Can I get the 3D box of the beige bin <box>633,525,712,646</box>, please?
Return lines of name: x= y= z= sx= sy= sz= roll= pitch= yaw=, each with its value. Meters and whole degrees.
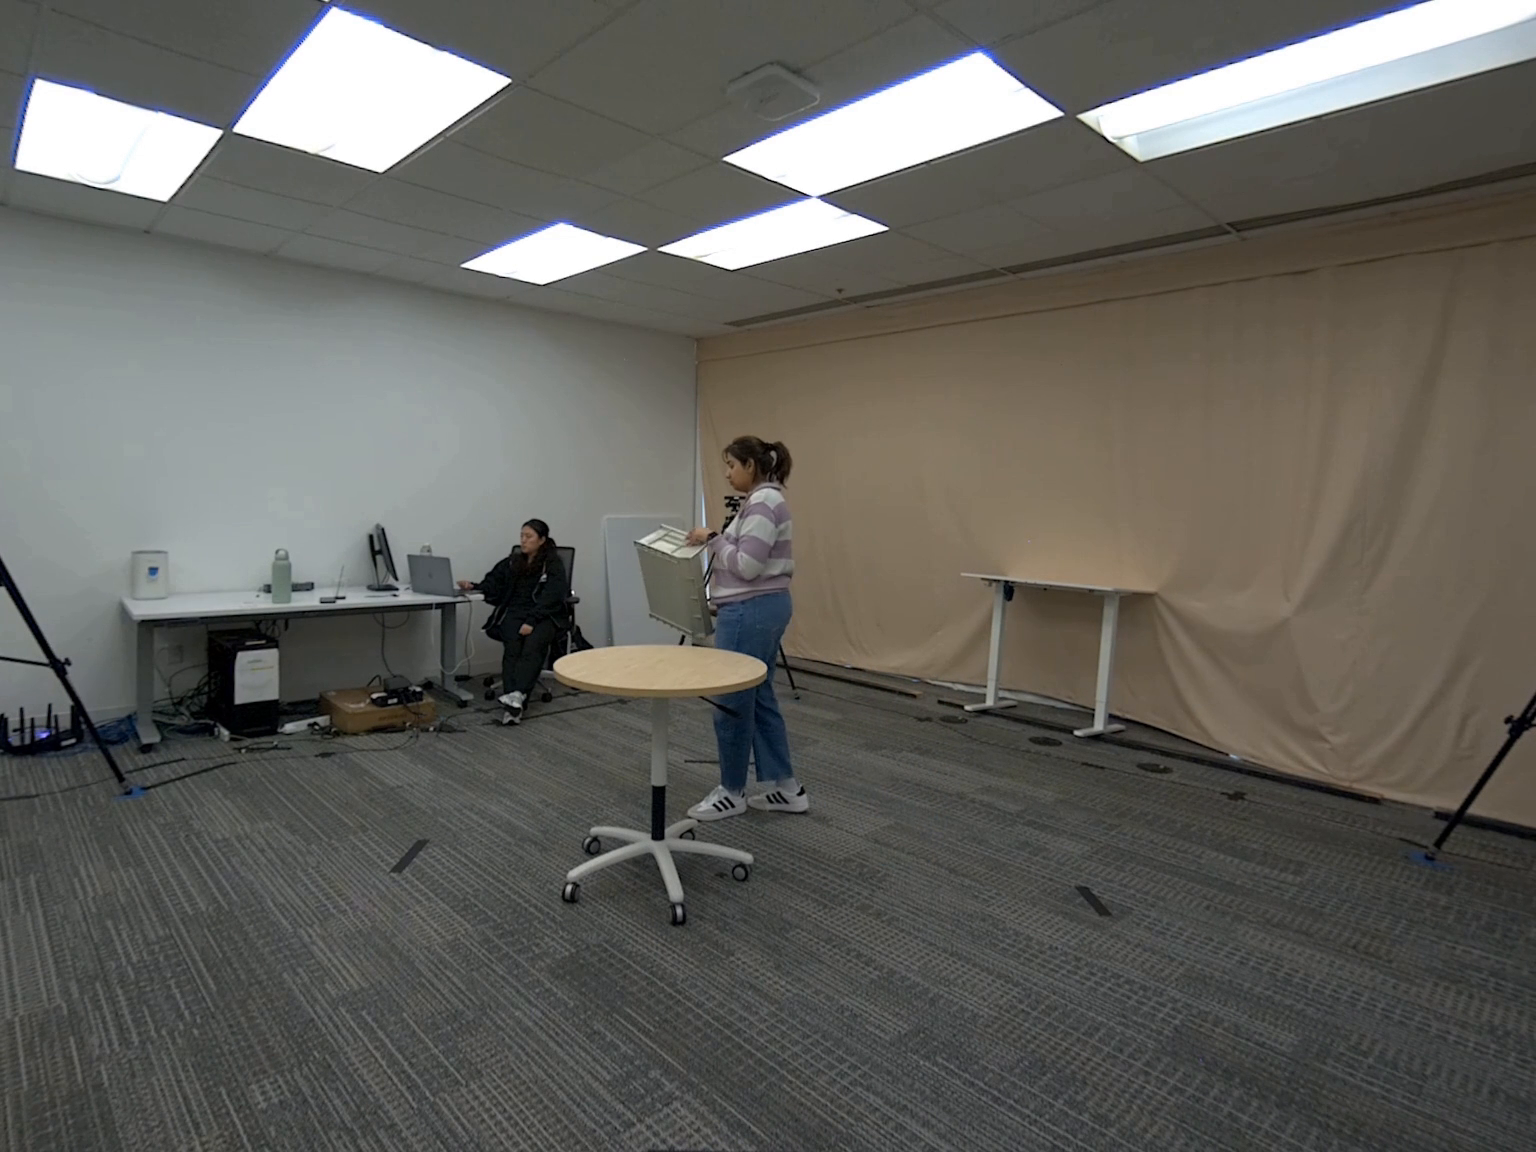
beige bin: x=-0.402 y=0.023 z=3.800 sx=0.187 sy=0.414 sz=0.388 roll=-30 pitch=34 yaw=-36
